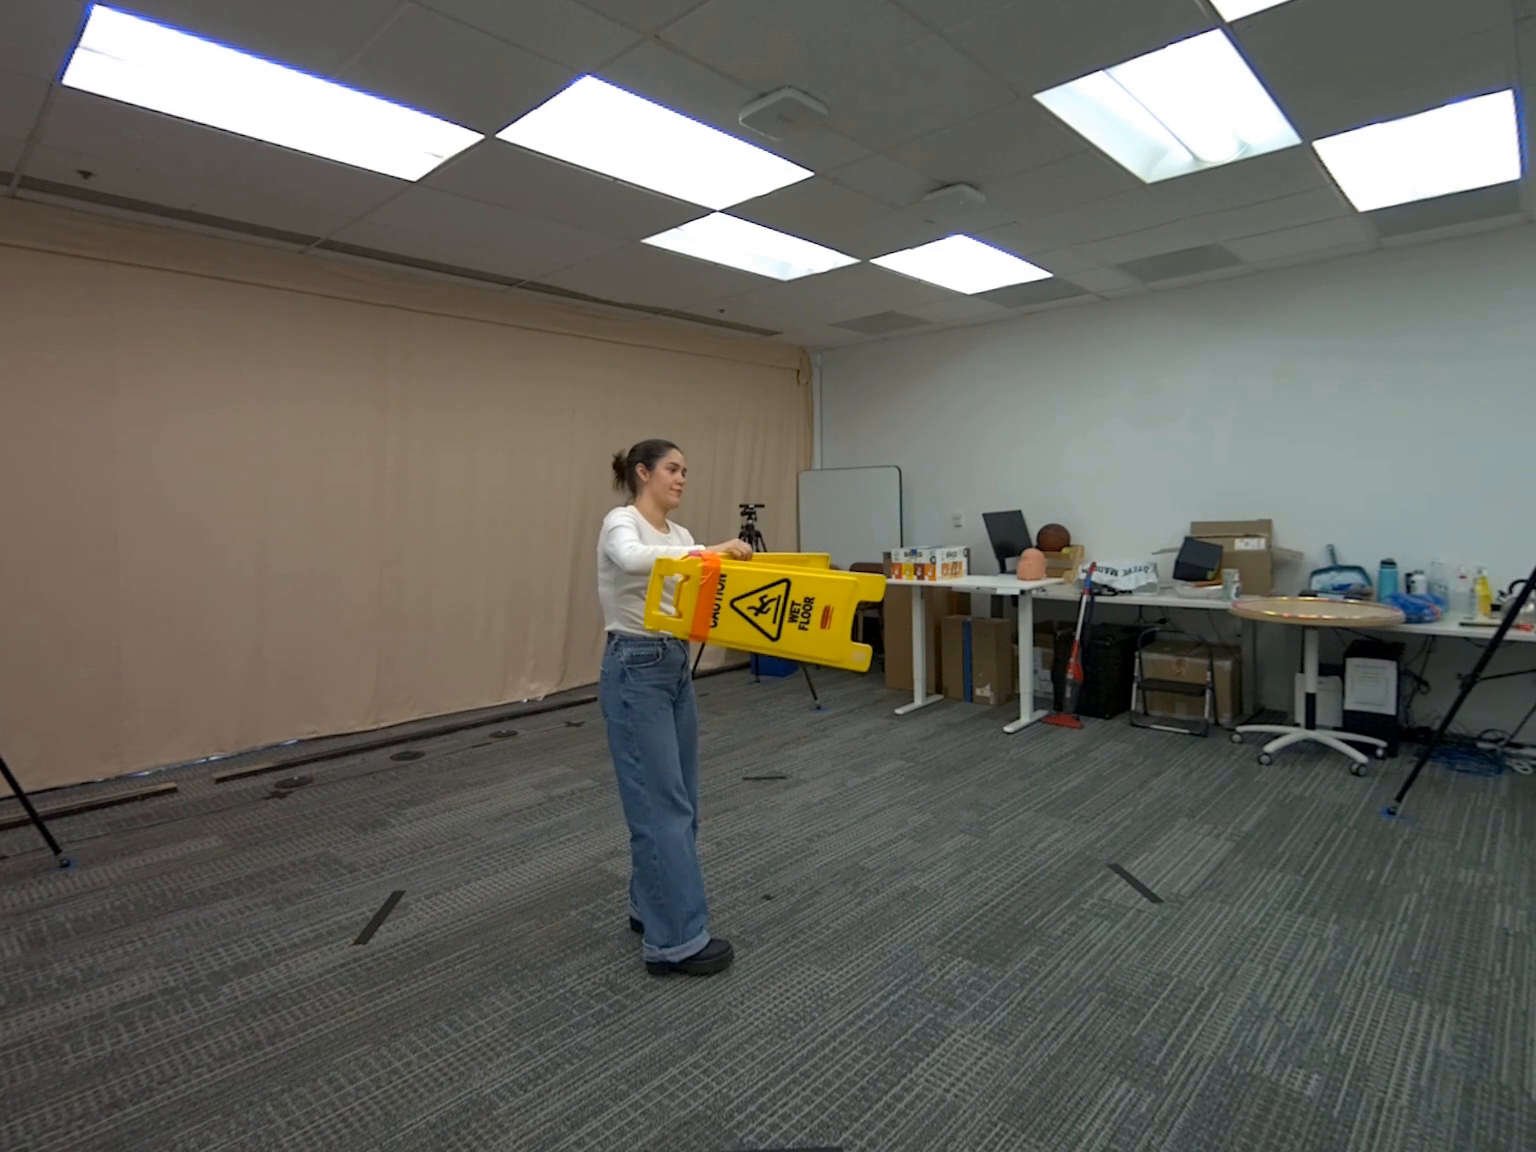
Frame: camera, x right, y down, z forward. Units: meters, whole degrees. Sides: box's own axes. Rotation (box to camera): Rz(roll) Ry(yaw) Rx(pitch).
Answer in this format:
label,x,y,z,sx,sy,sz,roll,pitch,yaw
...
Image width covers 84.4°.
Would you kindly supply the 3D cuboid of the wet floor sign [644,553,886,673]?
label,x,y,z,sx,sy,sz,roll,pitch,yaw
wet floor sign,-0.035,0.071,2.358,0.628,0.281,0.299,5,9,-29
